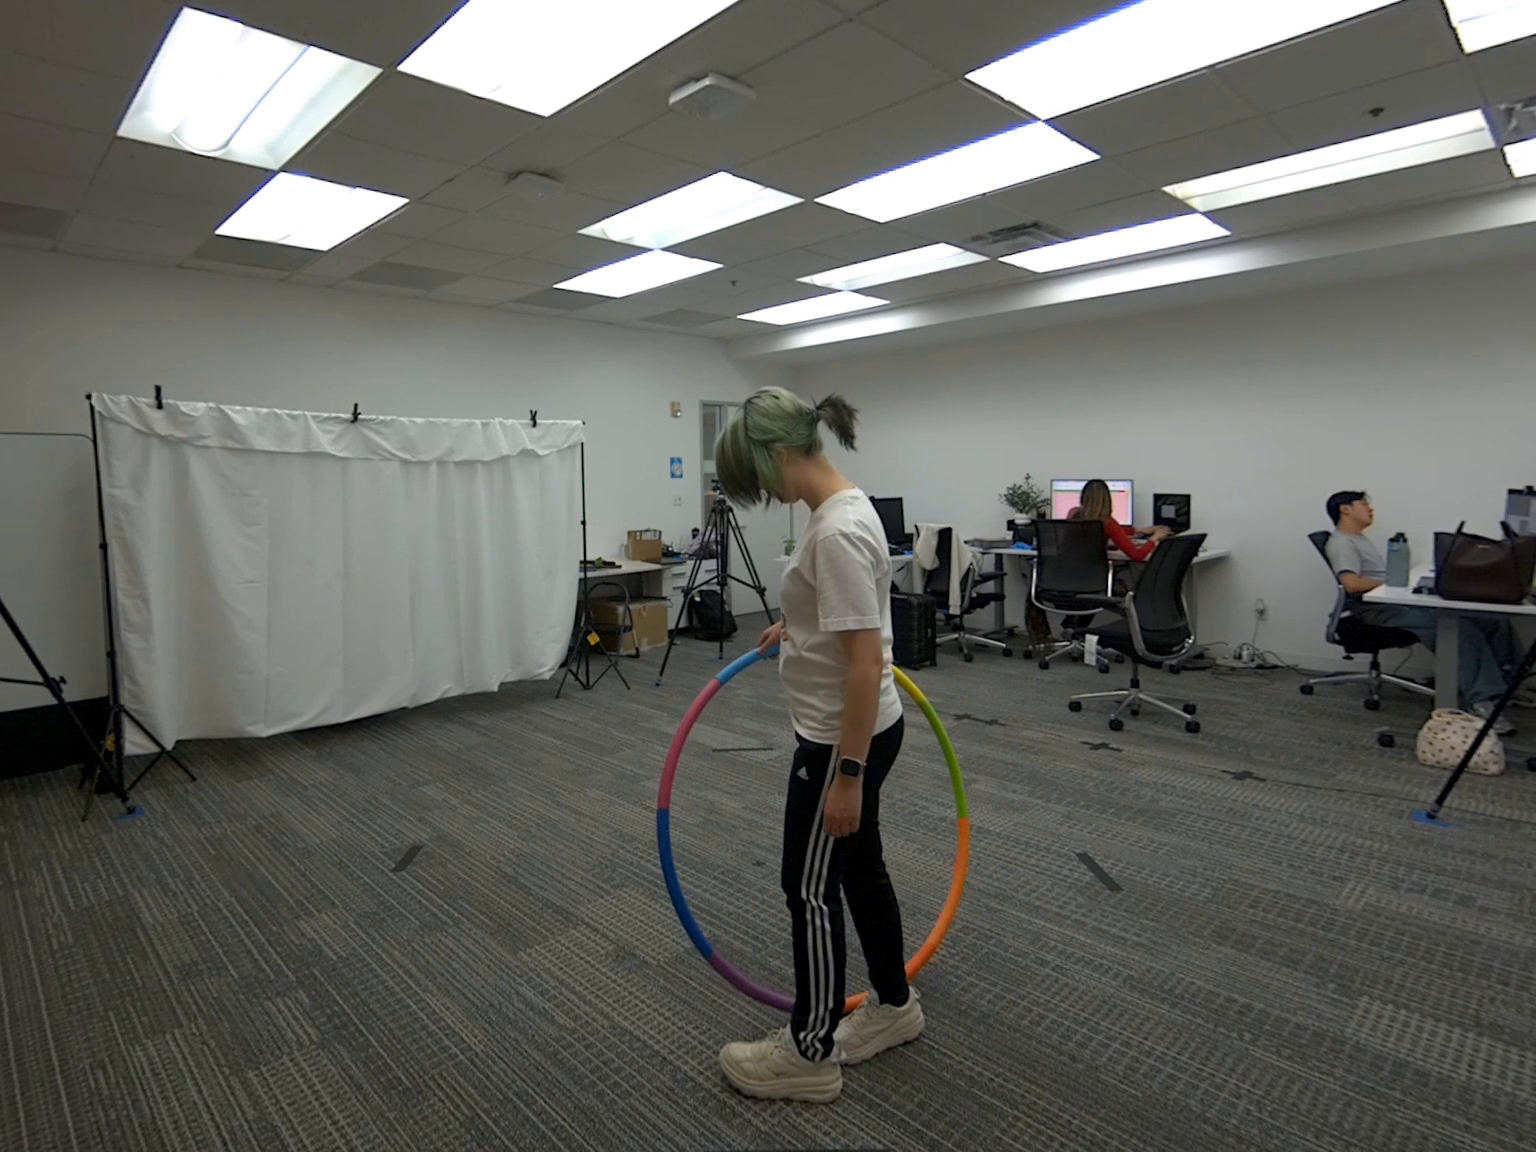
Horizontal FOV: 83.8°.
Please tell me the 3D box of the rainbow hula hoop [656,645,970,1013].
[{"bbox_3d":[0.167,0.657,2.356,0.957,0.992,0.036,-4,-14,-26],"label":"rainbow hula hoop"}]
